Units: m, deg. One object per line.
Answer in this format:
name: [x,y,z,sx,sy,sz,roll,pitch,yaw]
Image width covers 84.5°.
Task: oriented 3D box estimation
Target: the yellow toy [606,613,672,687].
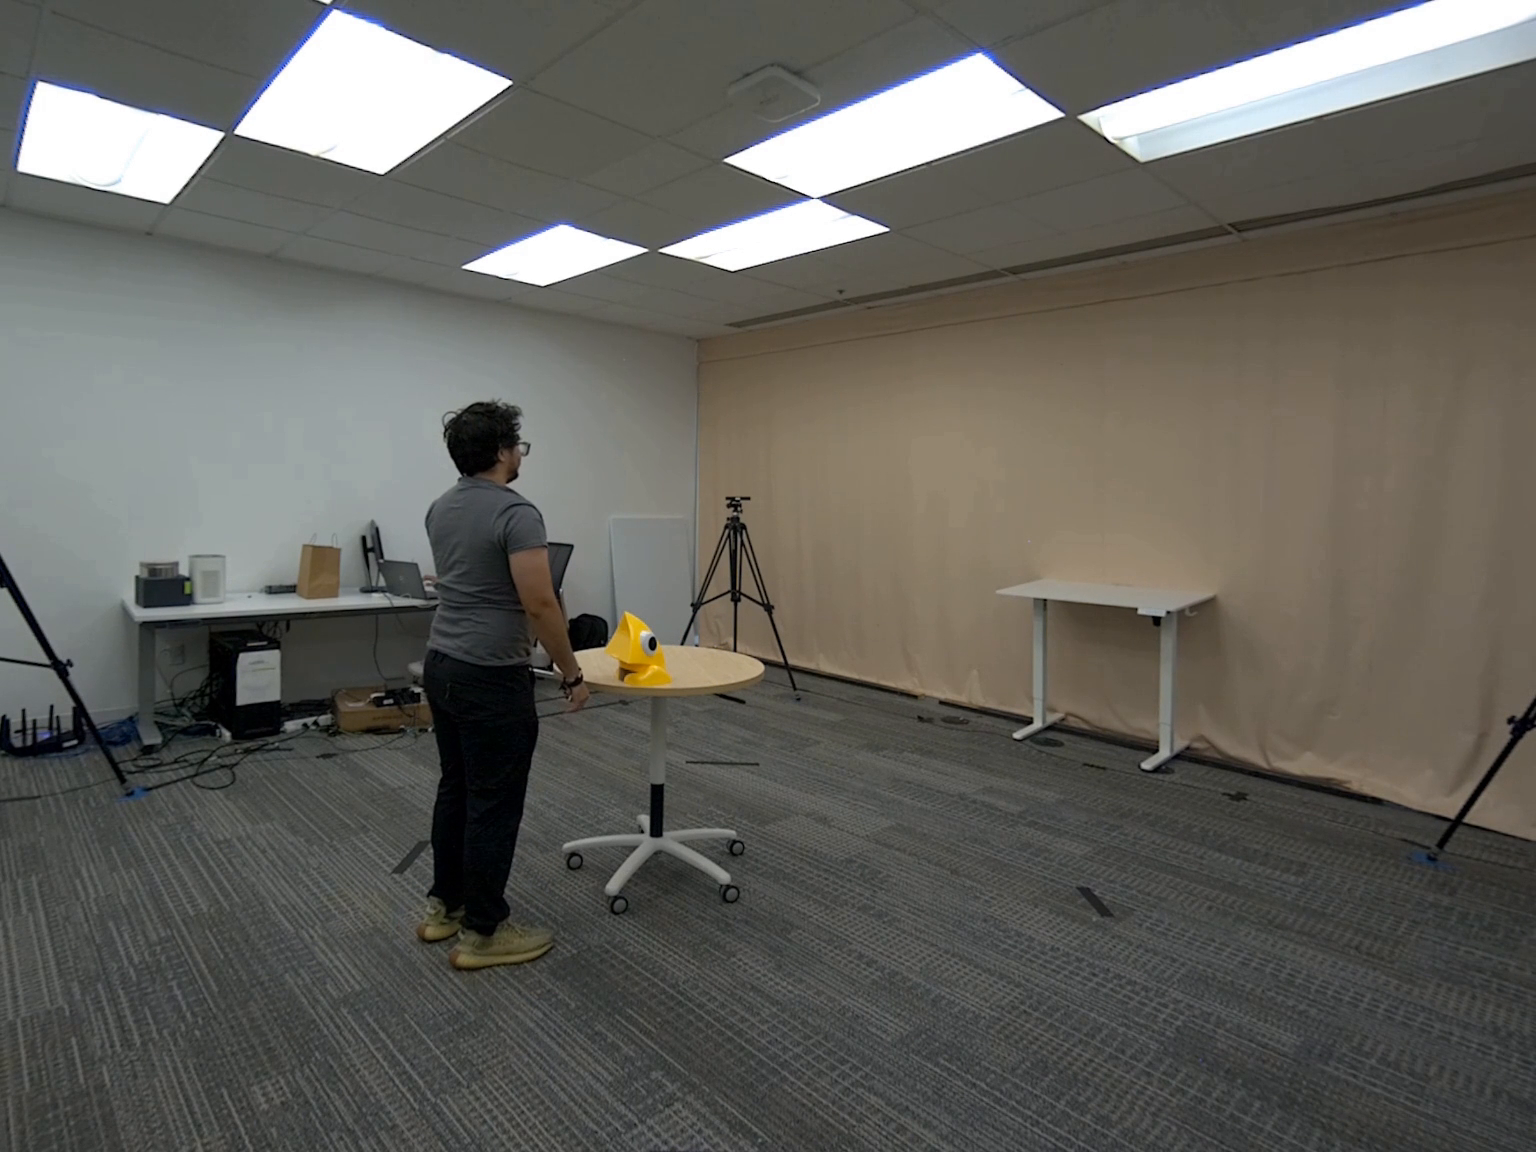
yellow toy: [-0.437,0.233,2.810,0.189,0.230,0.210,-1,5,-32]
